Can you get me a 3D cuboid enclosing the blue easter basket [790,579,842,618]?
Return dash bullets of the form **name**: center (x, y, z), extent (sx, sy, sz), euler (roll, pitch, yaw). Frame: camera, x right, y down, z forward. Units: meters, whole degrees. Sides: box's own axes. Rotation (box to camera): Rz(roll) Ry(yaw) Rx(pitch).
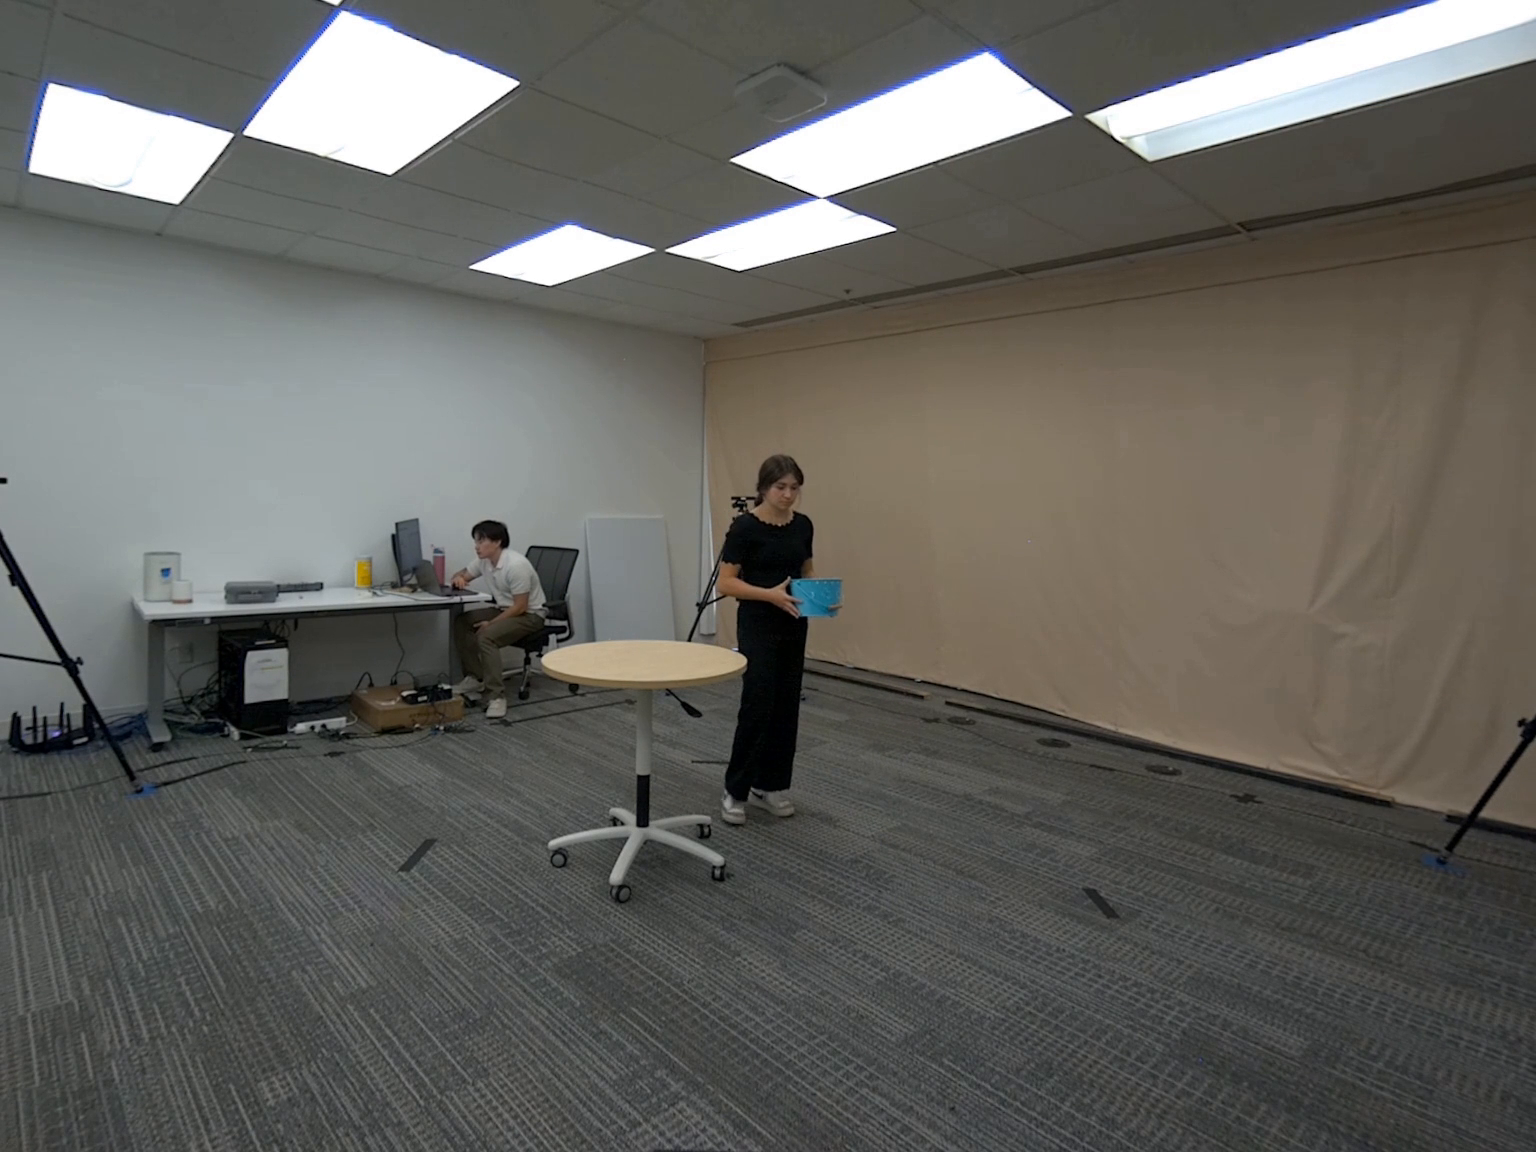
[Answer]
- **blue easter basket**: center (0.190, 0.095, 3.565), extent (0.243, 0.156, 0.243), euler (-1, -2, -1)
